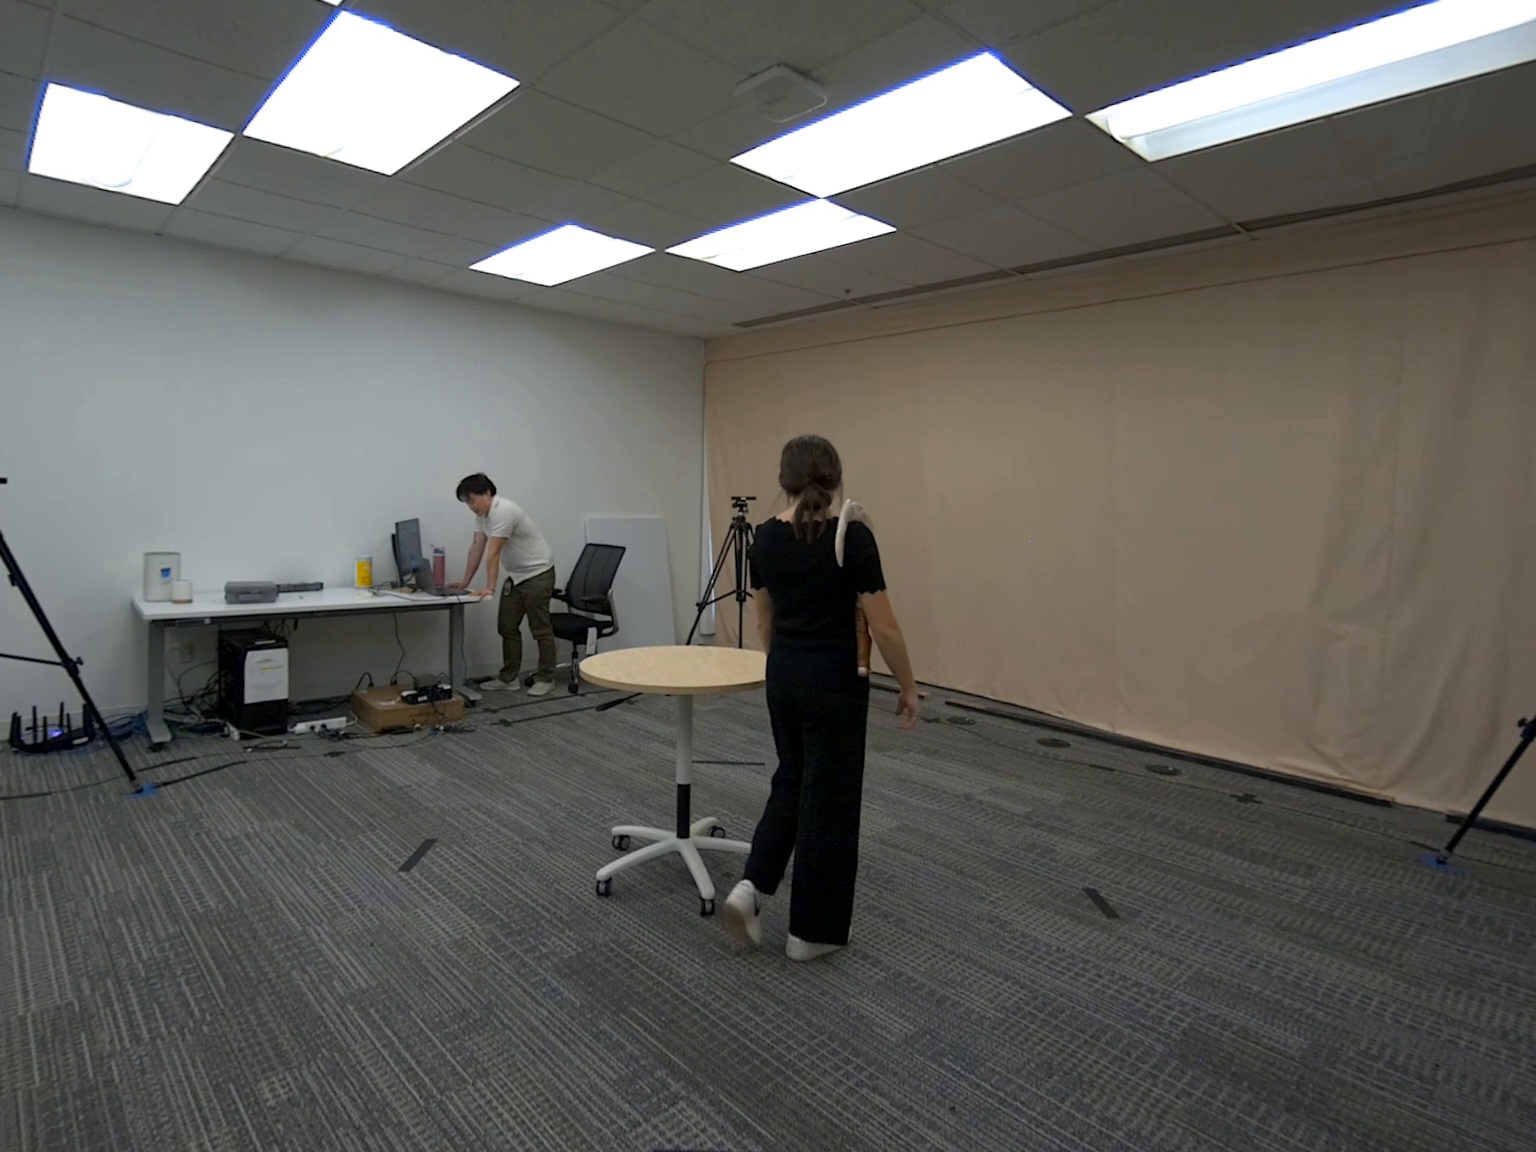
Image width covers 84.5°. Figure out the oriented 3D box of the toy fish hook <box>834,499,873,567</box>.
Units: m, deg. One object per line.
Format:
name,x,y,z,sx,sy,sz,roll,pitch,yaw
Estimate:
toy fish hook,0.239,0.035,2.423,0.049,0.509,0.219,-5,-8,35
